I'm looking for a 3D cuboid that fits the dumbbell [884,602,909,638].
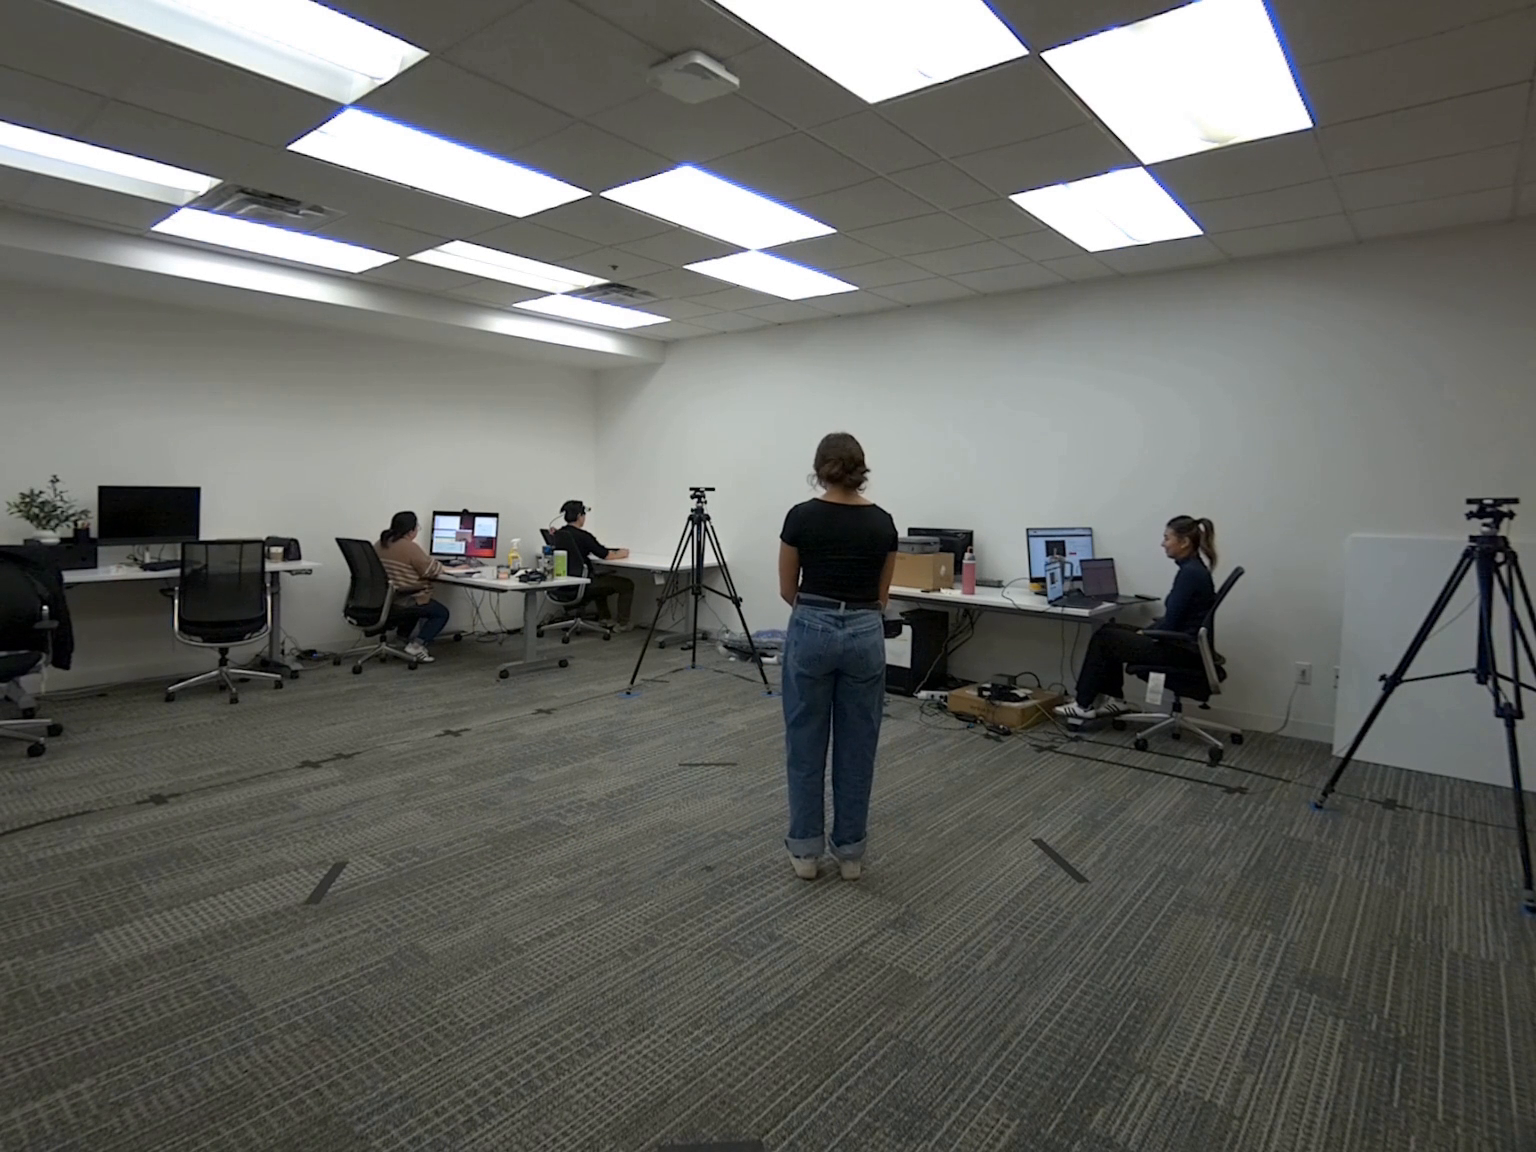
[{"bbox_3d":[0.385,0.184,3.368,0.288,0.111,0.123,-3,-19,-19],"label":"dumbbell"}]
